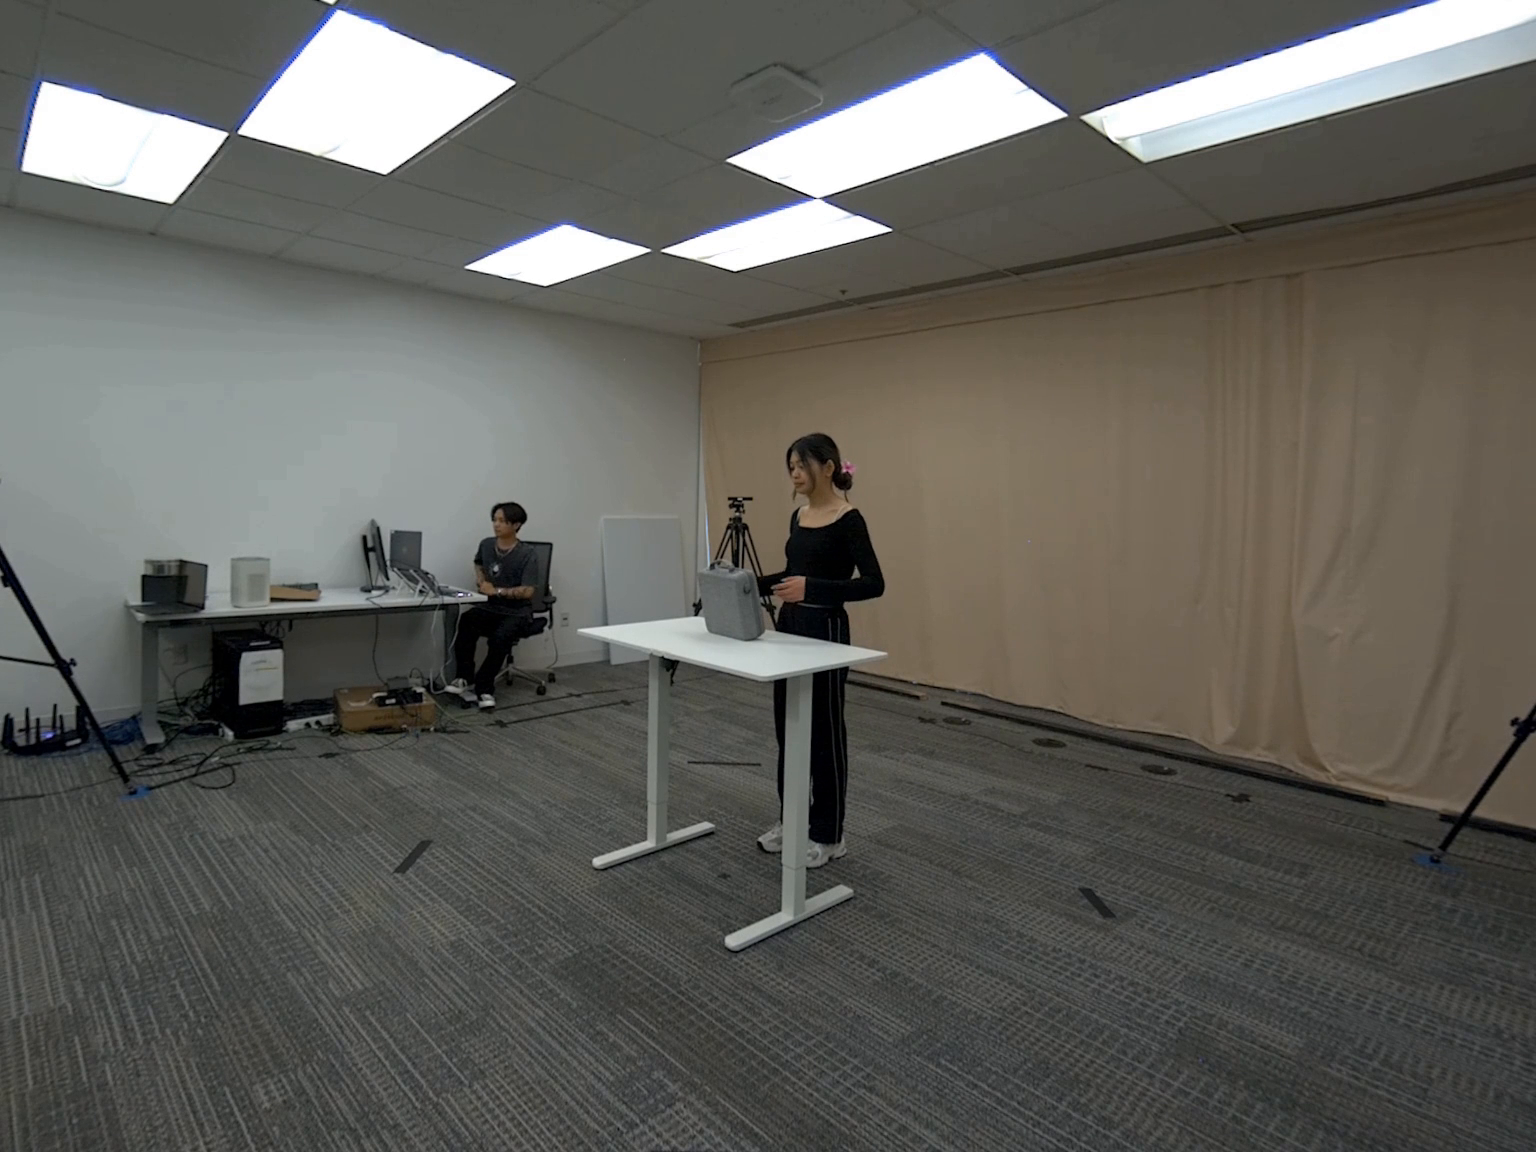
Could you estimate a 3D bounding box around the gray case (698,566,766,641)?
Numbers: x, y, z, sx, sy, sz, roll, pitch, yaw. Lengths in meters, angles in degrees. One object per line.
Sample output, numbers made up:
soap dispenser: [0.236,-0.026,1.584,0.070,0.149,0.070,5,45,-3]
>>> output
gray case: [-0.140,0.093,3.098,0.103,0.258,0.263,-16,14,-33]
